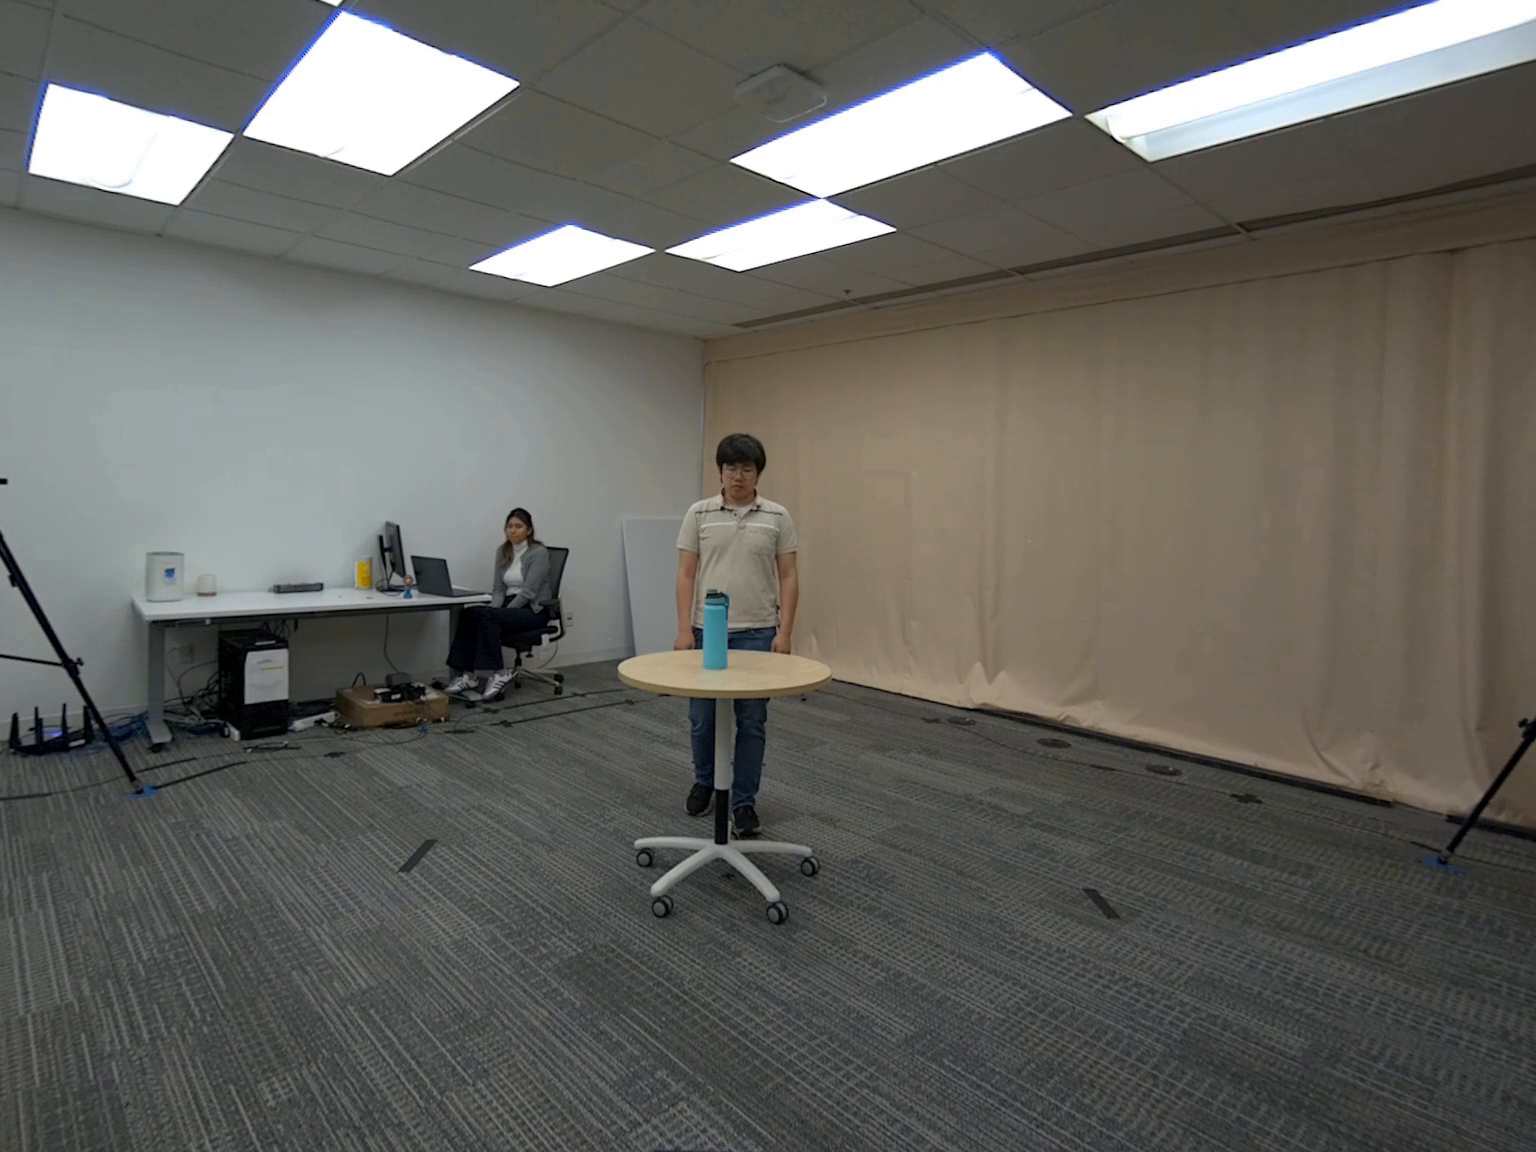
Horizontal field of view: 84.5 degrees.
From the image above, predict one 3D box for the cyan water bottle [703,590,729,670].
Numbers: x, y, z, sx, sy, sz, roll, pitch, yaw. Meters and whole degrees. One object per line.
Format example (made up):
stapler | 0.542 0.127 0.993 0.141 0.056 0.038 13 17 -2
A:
cyan water bottle | -0.195 0.190 3.023 0.092 0.283 0.092 3 1 -2
